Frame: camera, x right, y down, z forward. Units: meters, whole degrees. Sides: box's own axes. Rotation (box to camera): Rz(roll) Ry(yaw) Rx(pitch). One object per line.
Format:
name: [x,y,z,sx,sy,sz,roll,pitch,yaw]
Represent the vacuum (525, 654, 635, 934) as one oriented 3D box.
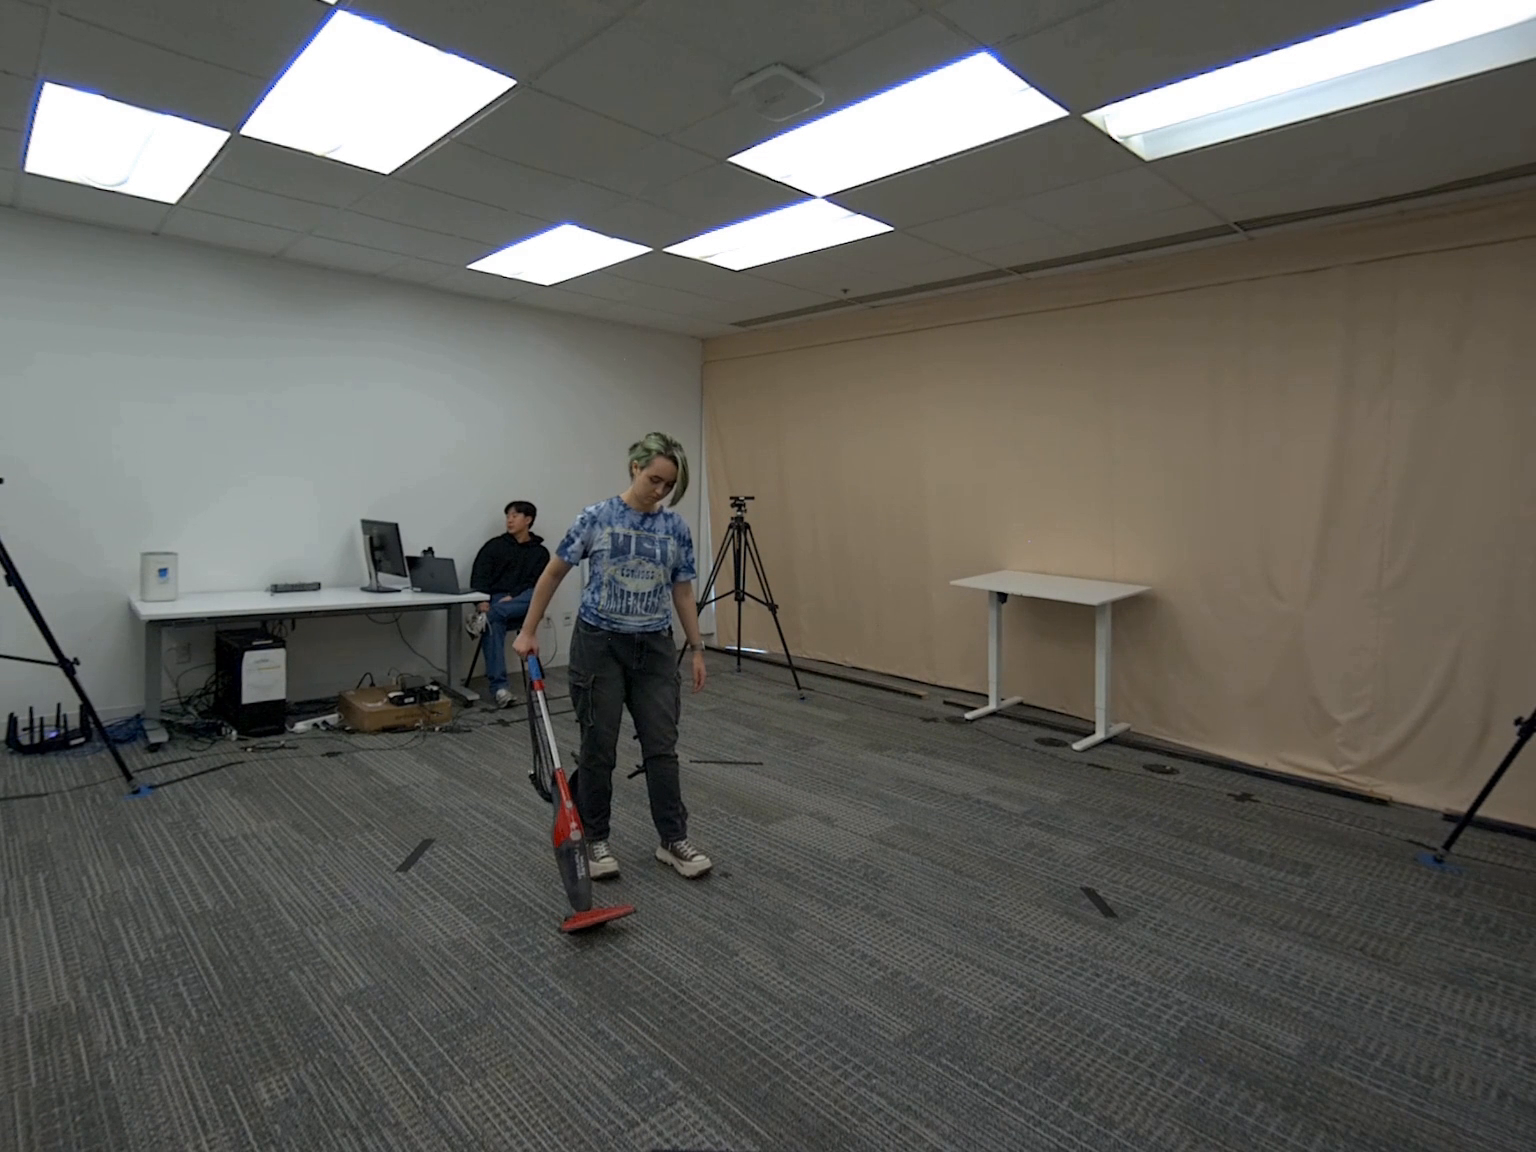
vacuum: [-0.756,0.691,2.914,0.247,1.078,0.143,0,-39,-36]
